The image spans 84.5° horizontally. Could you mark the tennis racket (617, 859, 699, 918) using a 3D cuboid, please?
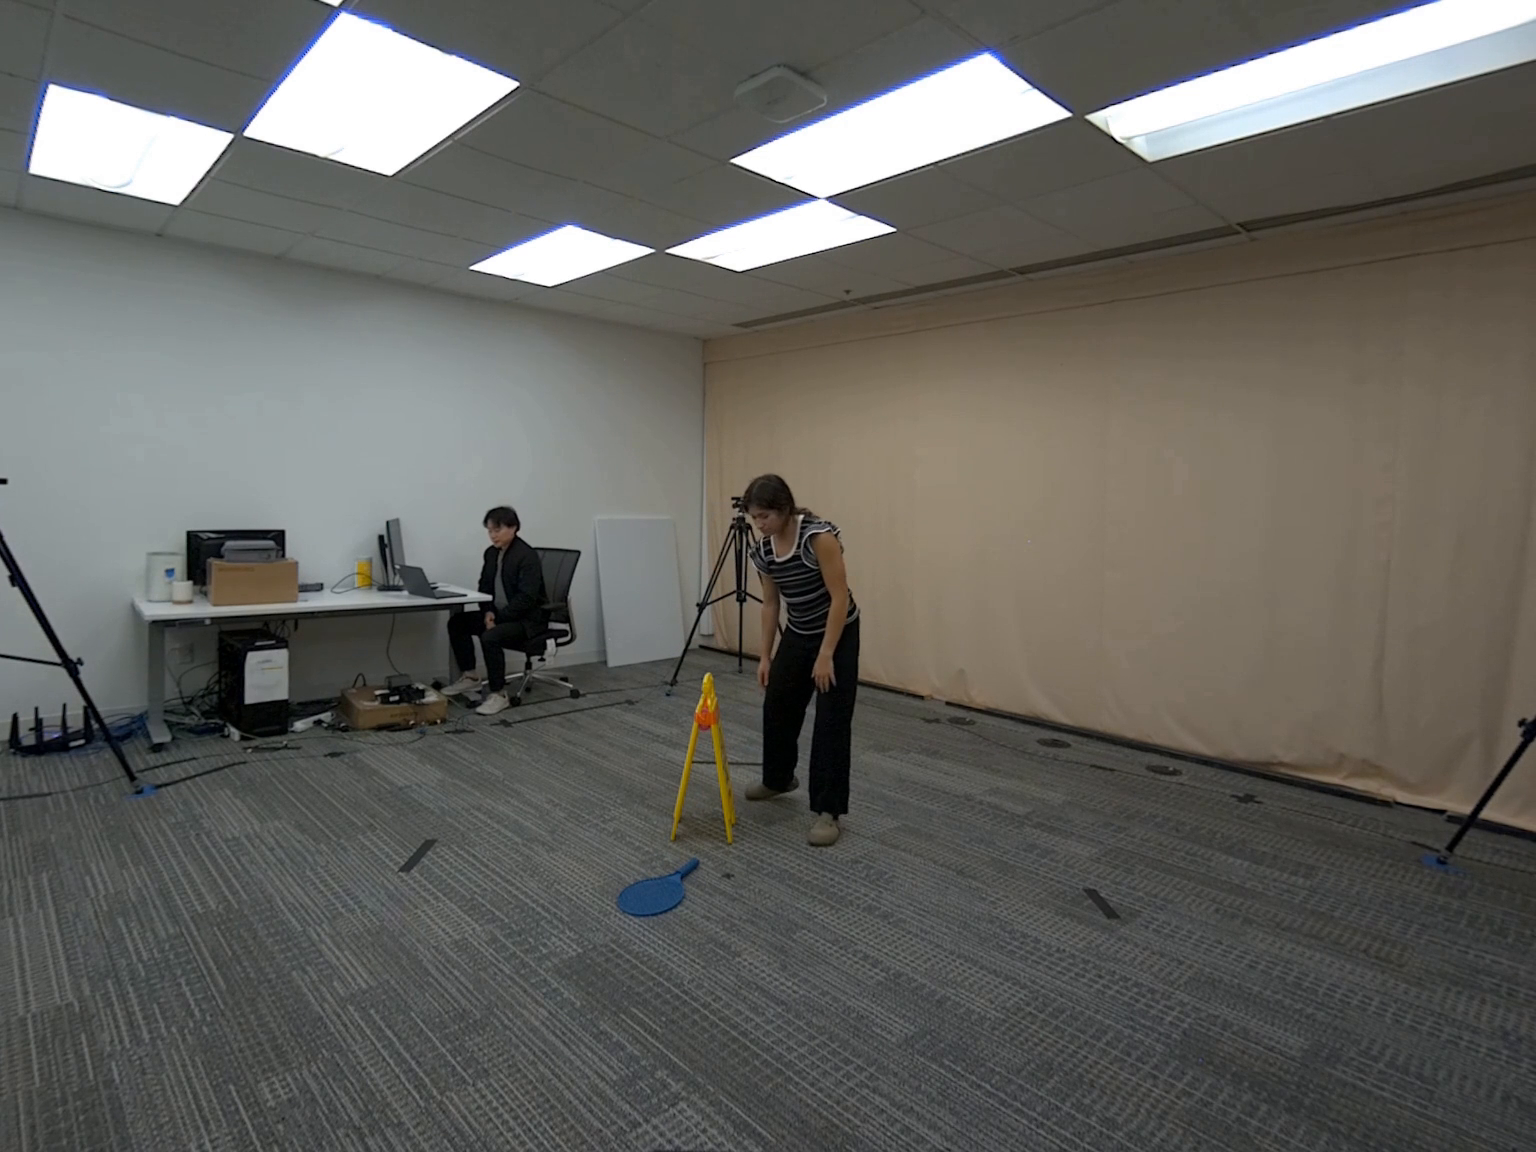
[{"bbox_3d":[-0.376,1.100,2.986,0.218,0.031,0.426,4,7,25],"label":"tennis racket"}]
